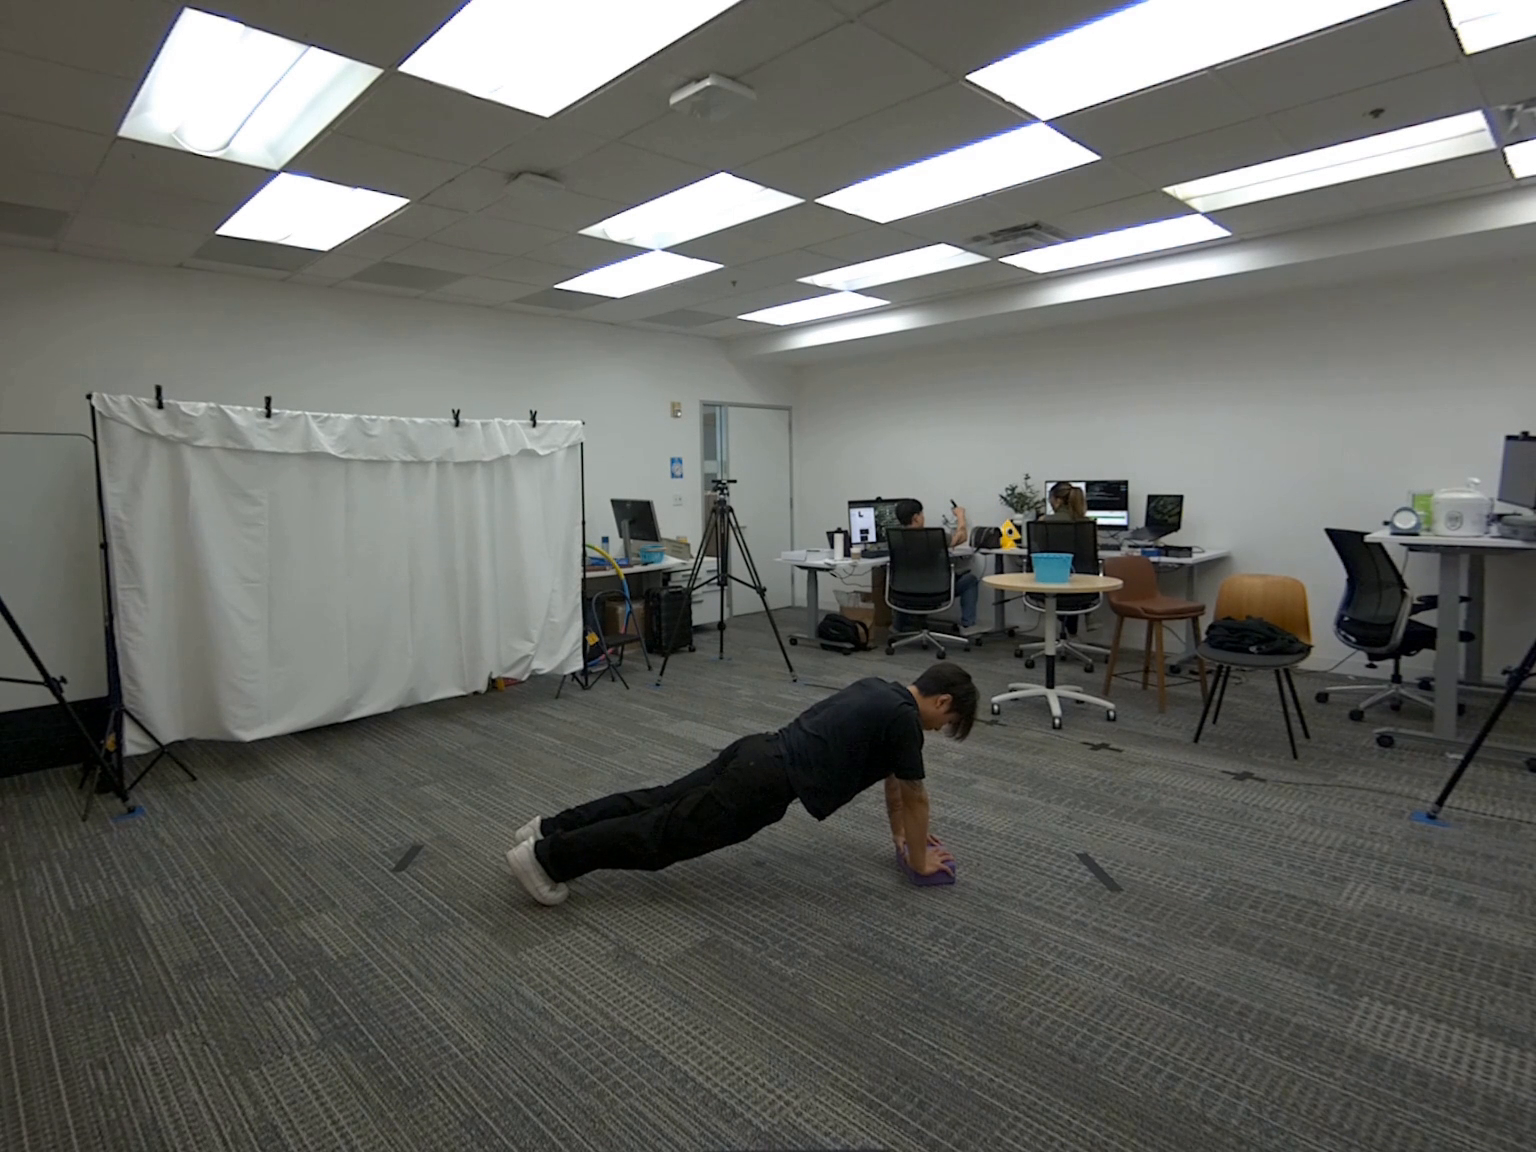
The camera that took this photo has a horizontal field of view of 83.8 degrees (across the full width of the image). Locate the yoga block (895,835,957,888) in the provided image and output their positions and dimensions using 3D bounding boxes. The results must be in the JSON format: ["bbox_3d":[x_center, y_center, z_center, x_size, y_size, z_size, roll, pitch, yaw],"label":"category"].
[{"bbox_3d":[0.555,1.004,3.023,0.148,0.076,0.231,-1,5,-7],"label":"yoga block"}]
